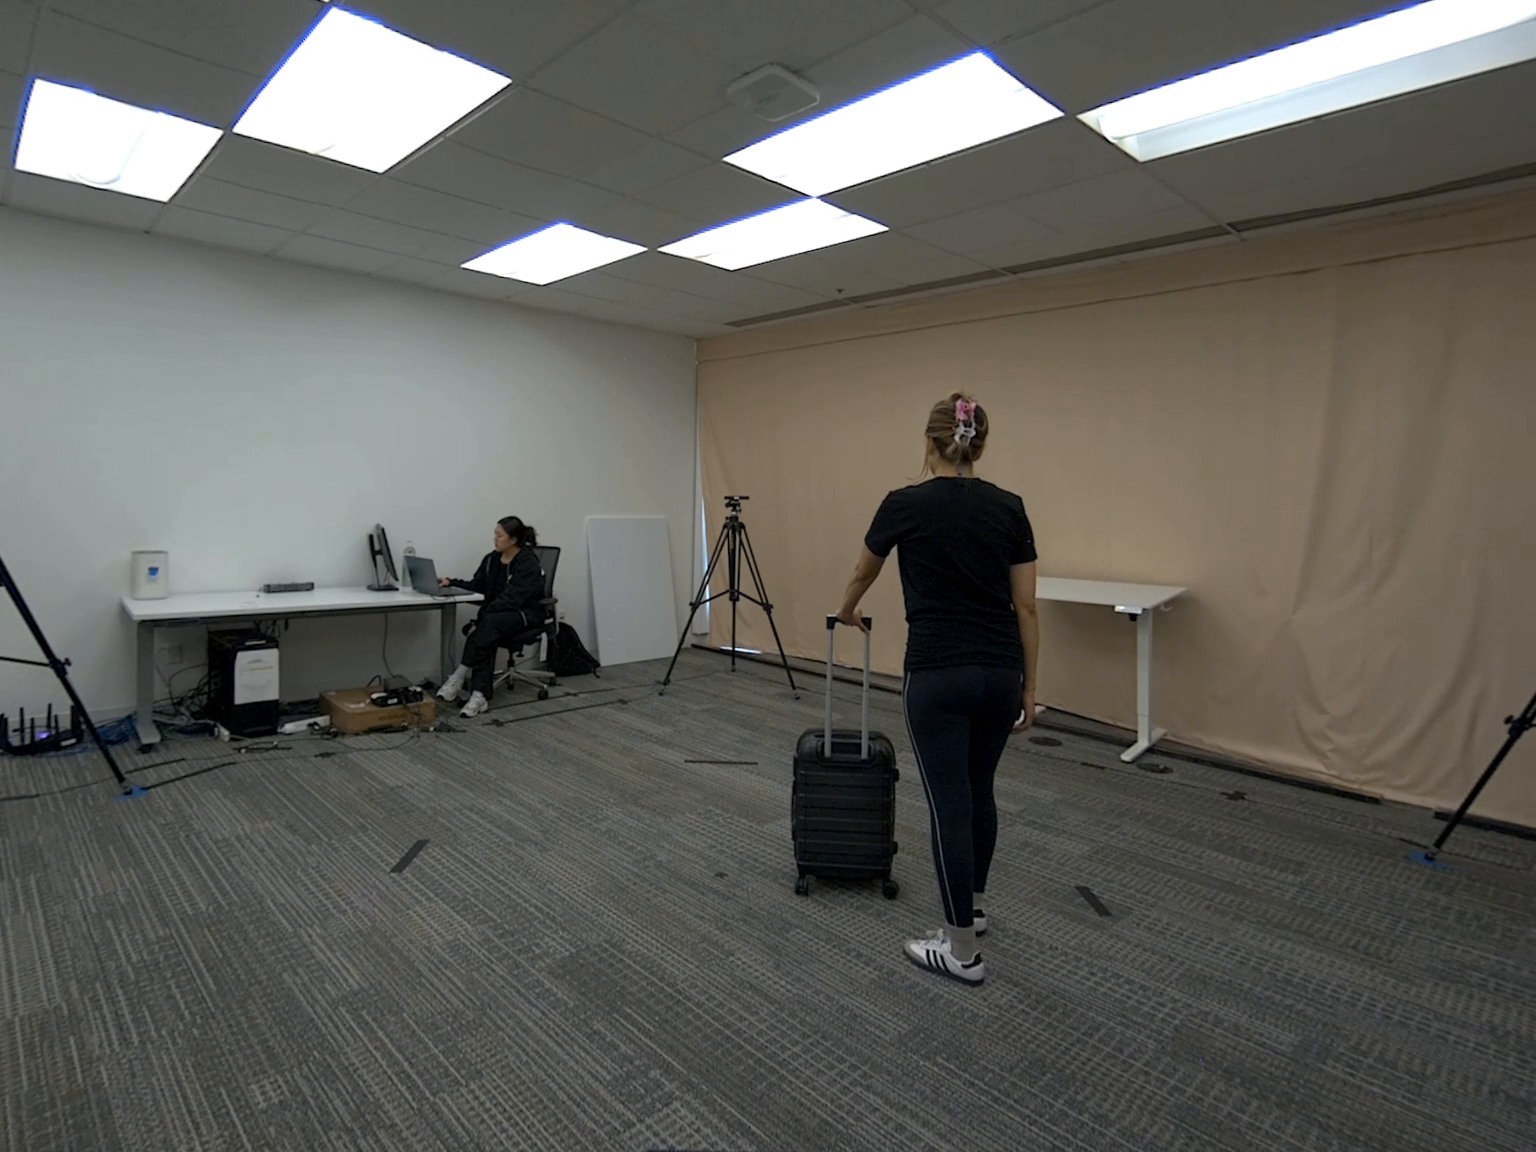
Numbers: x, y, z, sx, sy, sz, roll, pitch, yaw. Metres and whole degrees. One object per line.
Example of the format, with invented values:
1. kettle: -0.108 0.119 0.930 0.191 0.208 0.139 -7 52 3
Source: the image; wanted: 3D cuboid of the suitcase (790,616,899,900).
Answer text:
1. suitcase: 0.275 0.638 3.077 0.385 0.979 0.256 1 0 4
